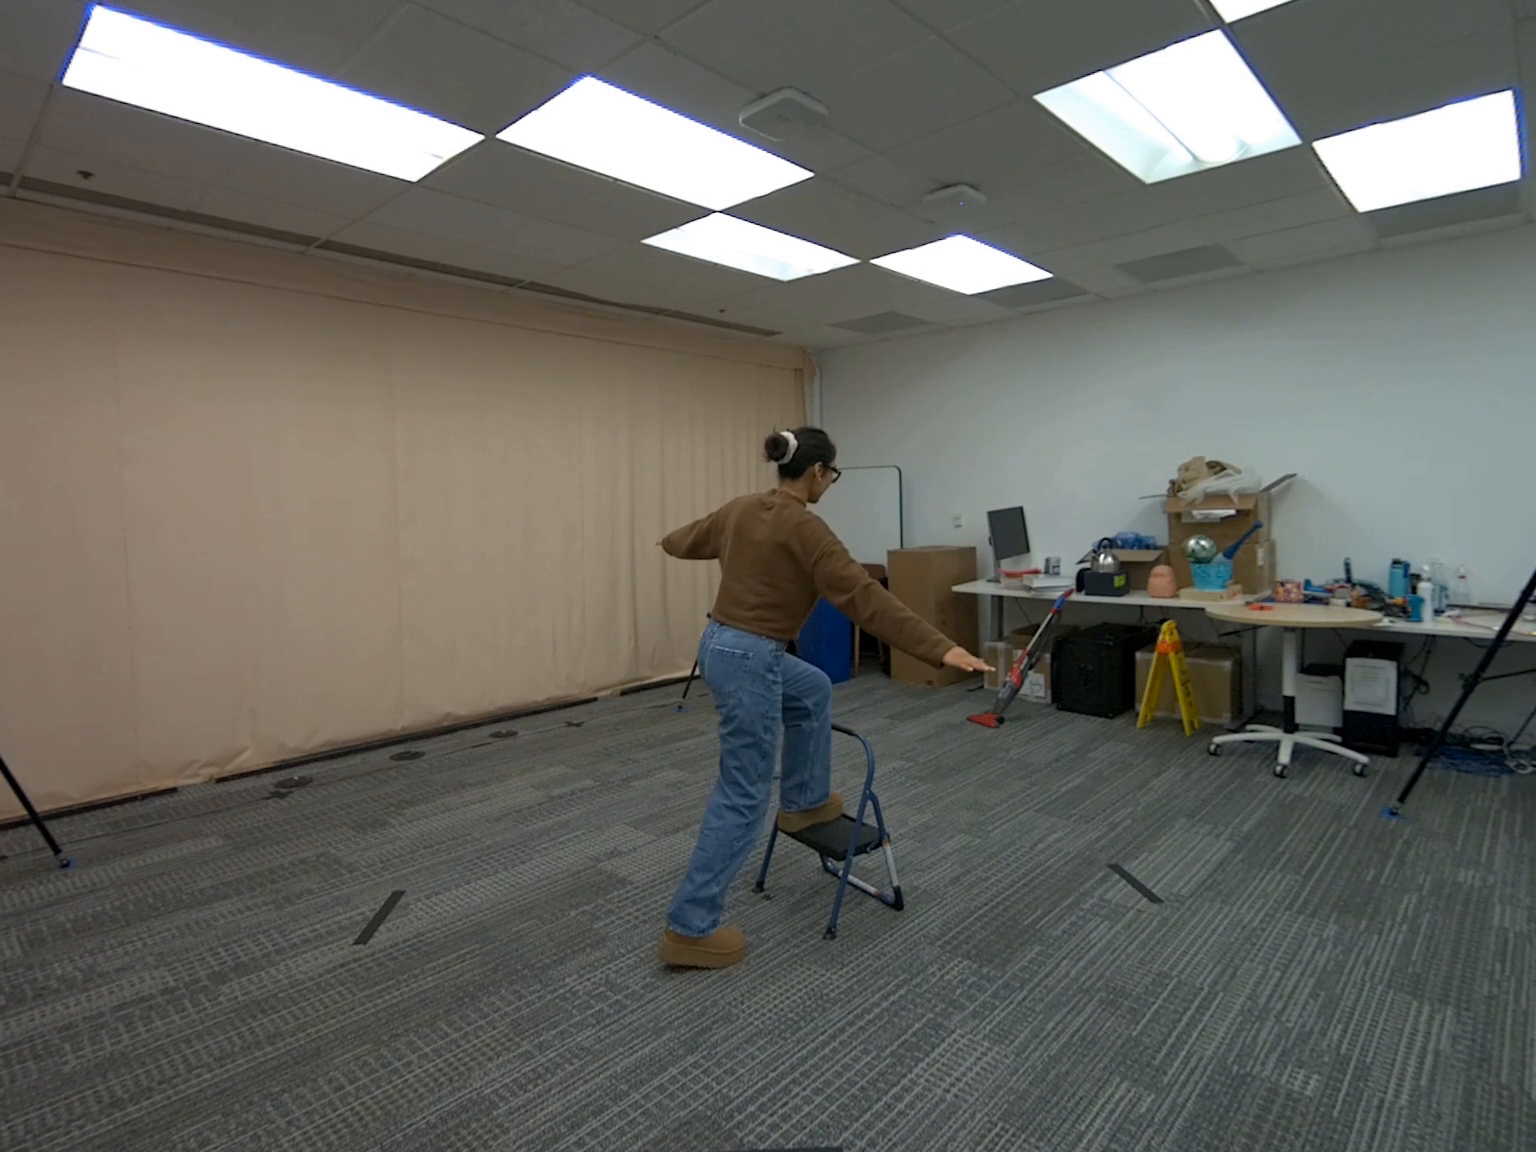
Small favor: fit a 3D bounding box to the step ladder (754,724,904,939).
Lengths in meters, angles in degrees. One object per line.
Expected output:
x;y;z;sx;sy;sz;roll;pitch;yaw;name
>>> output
0.210;0.838;2.938;0.339;0.605;0.444;-3;4;-35;step ladder
